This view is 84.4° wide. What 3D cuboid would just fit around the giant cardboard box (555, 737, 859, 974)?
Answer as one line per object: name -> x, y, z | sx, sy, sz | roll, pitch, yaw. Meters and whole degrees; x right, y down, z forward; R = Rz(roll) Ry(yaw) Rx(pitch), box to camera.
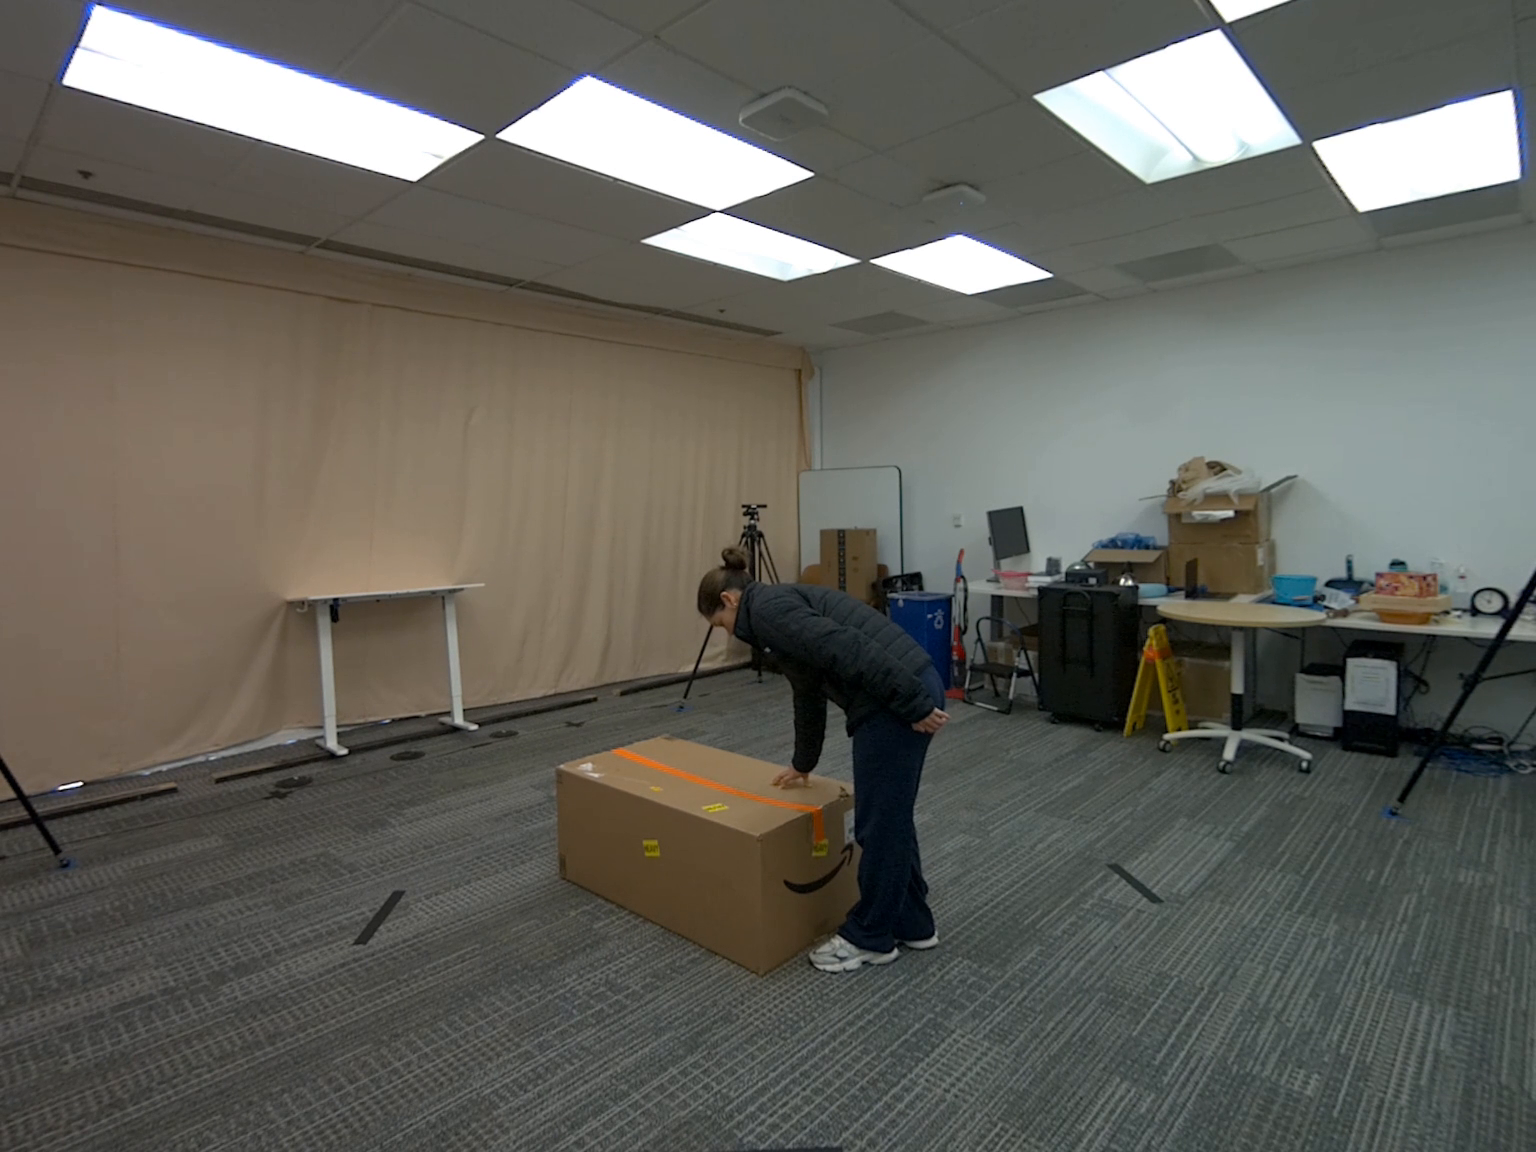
giant cardboard box -> -0.211, 0.932, 3.033 | 1.061, 0.446, 0.566 | 2, 4, 42
